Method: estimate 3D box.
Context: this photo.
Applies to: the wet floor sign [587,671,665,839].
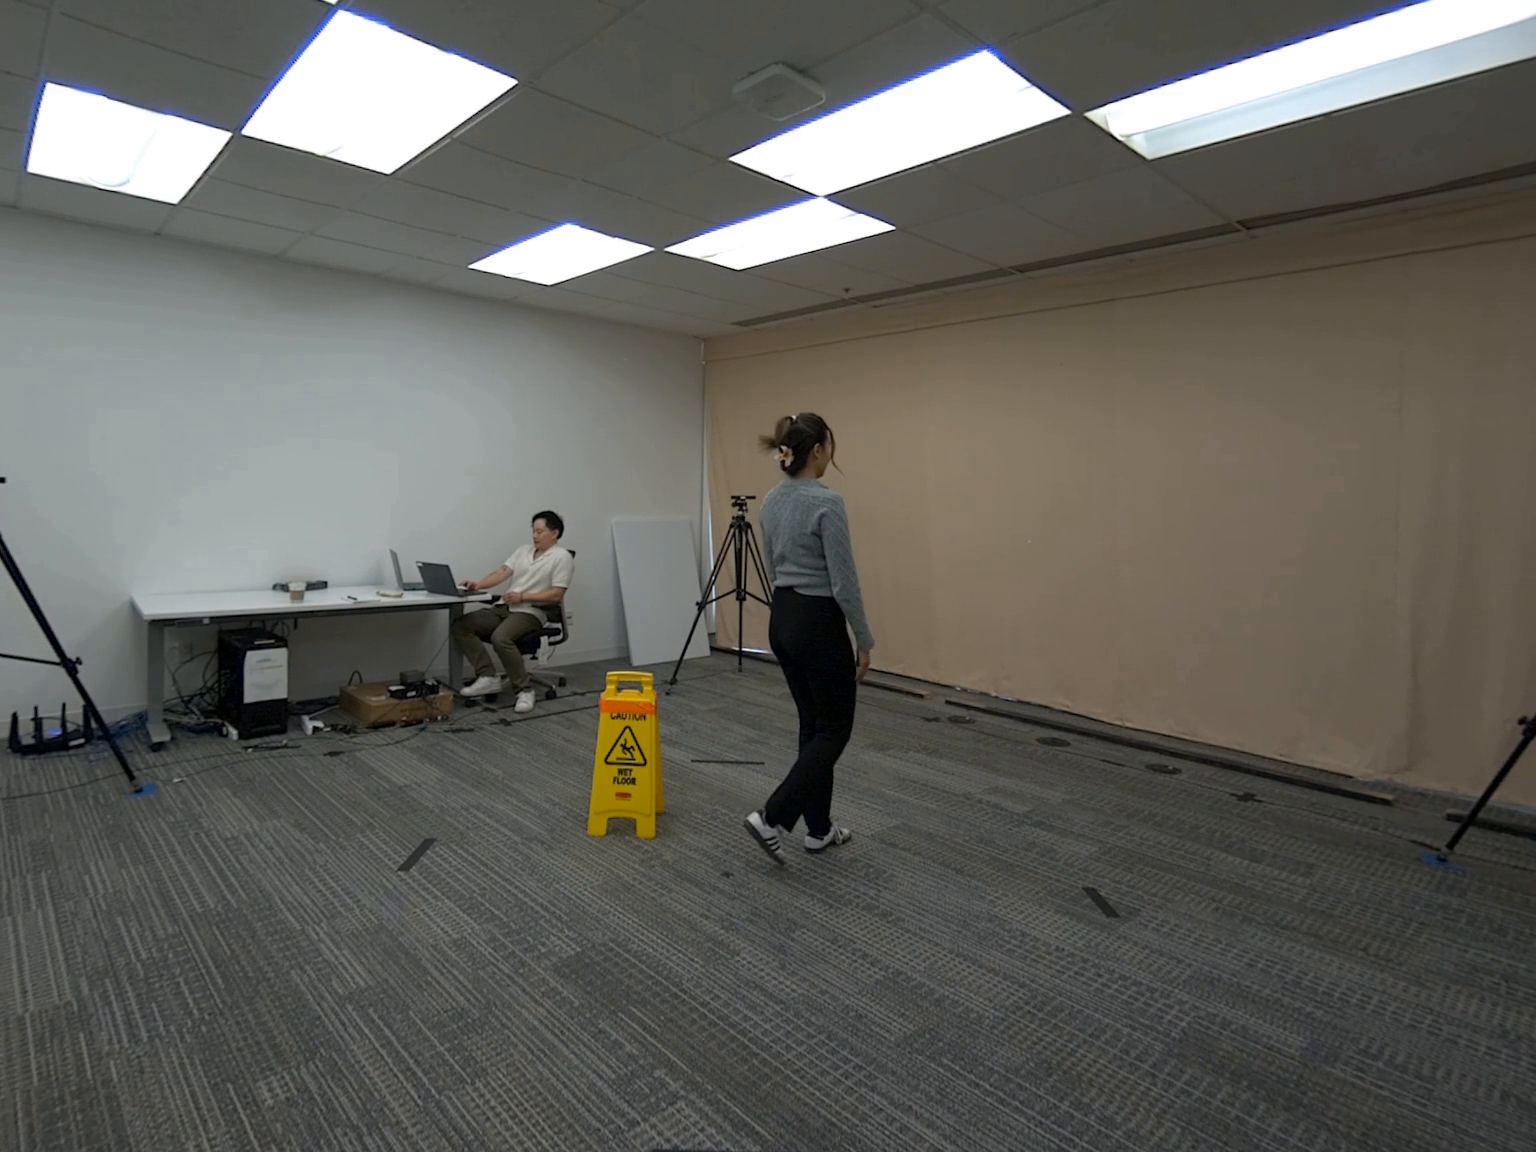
[{"bbox_3d":[-0.594,0.725,3.563,0.283,0.645,0.290,2,2,1],"label":"wet floor sign"}]
